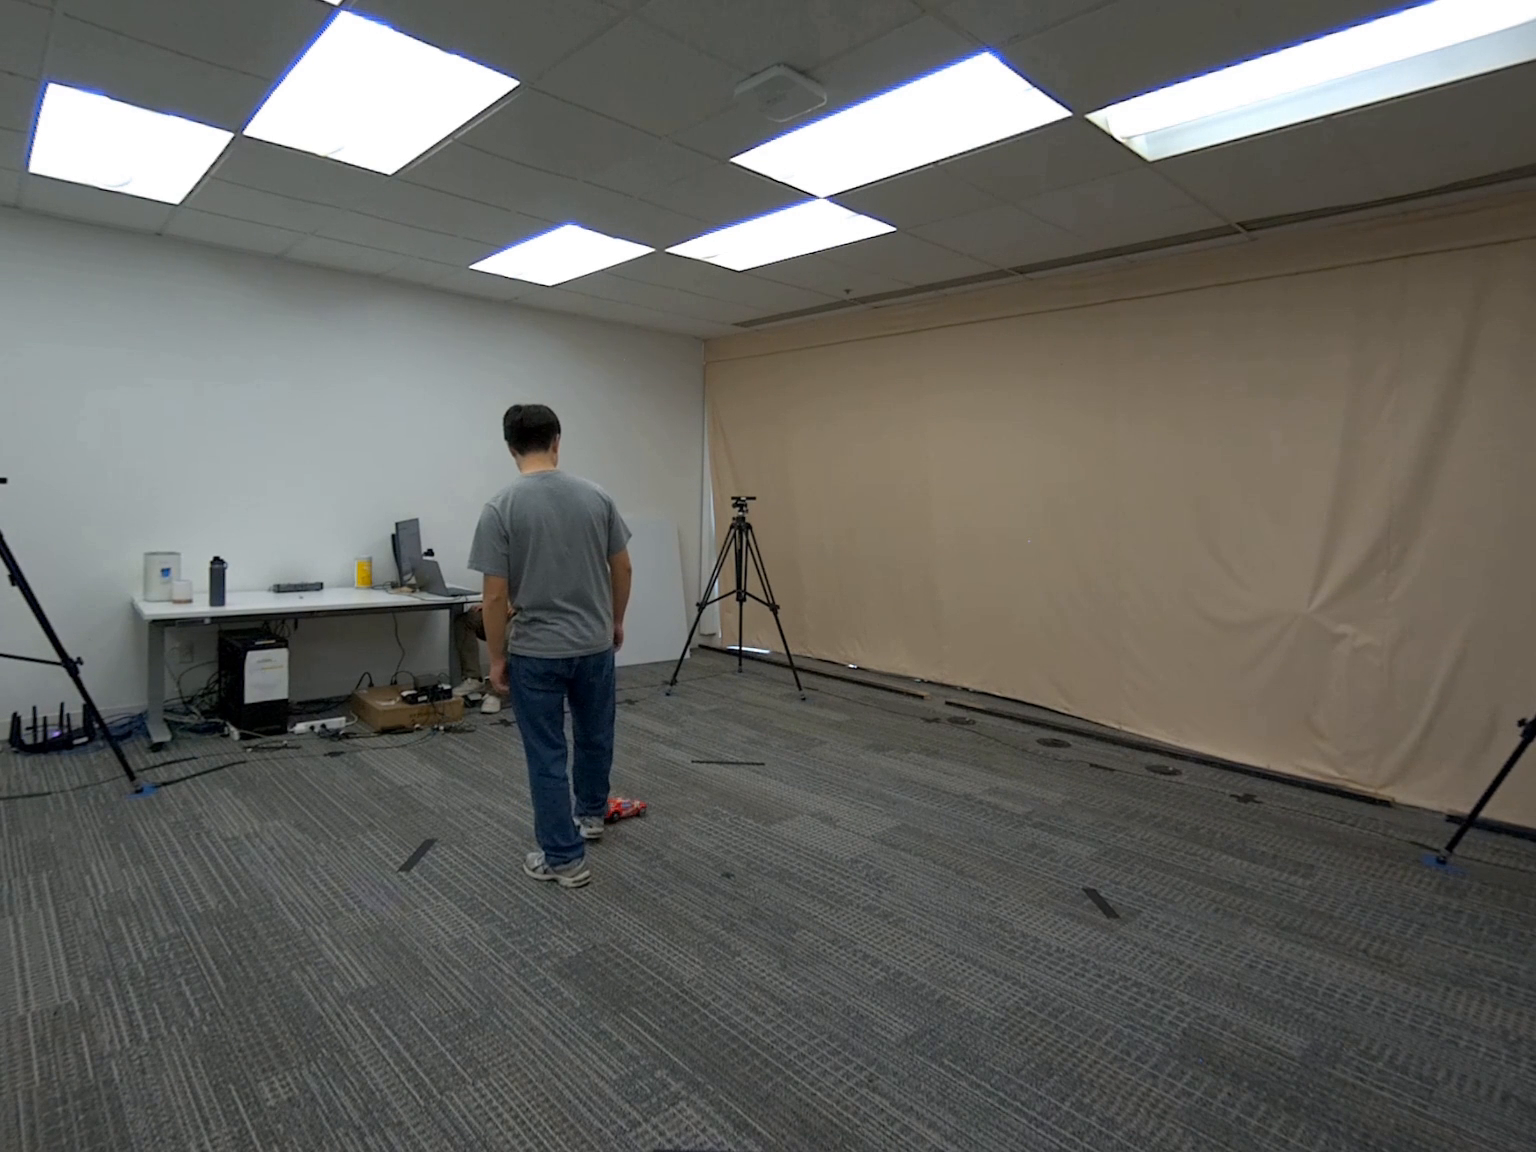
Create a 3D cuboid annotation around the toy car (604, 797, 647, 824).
[{"bbox_3d":[-0.656,1.009,3.639,0.247,0.083,0.133,18,-8,-43],"label":"toy car"}]
